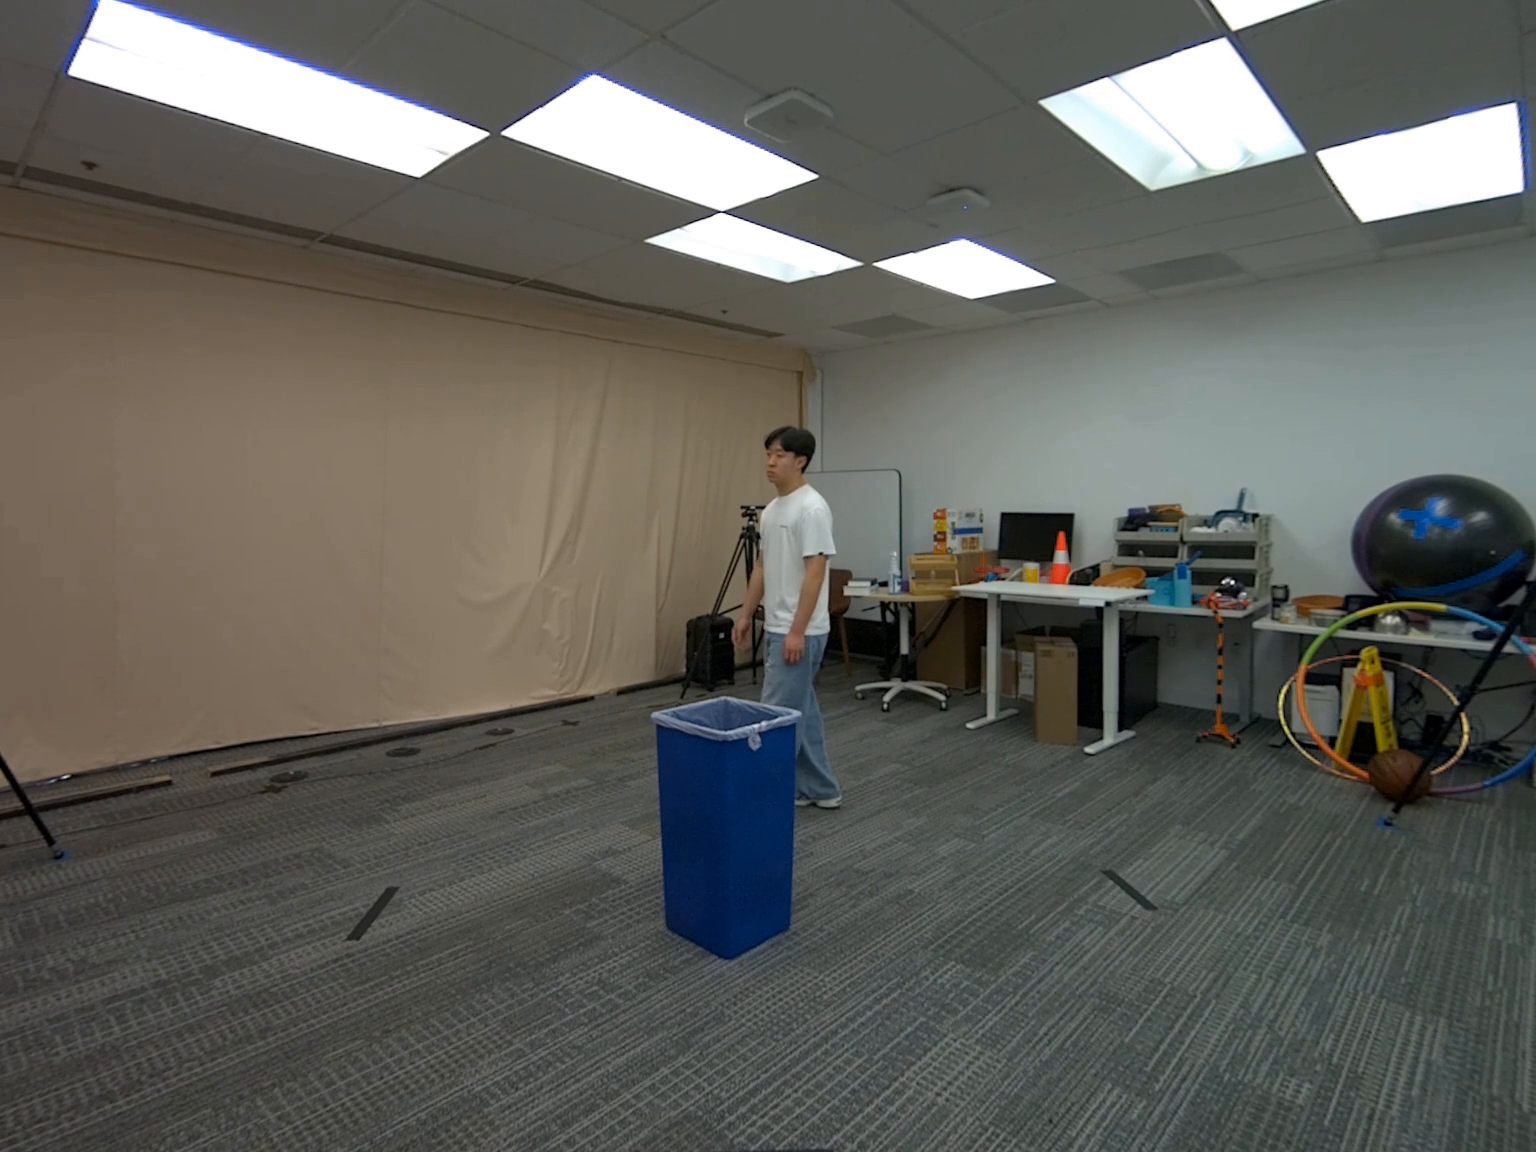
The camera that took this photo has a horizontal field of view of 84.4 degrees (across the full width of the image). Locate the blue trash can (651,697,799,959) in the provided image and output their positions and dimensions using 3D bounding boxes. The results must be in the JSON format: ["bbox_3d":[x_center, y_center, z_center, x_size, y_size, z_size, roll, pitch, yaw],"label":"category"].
[{"bbox_3d":[-0.142,0.805,2.767,0.386,0.712,0.366,3,4,44],"label":"blue trash can"}]
